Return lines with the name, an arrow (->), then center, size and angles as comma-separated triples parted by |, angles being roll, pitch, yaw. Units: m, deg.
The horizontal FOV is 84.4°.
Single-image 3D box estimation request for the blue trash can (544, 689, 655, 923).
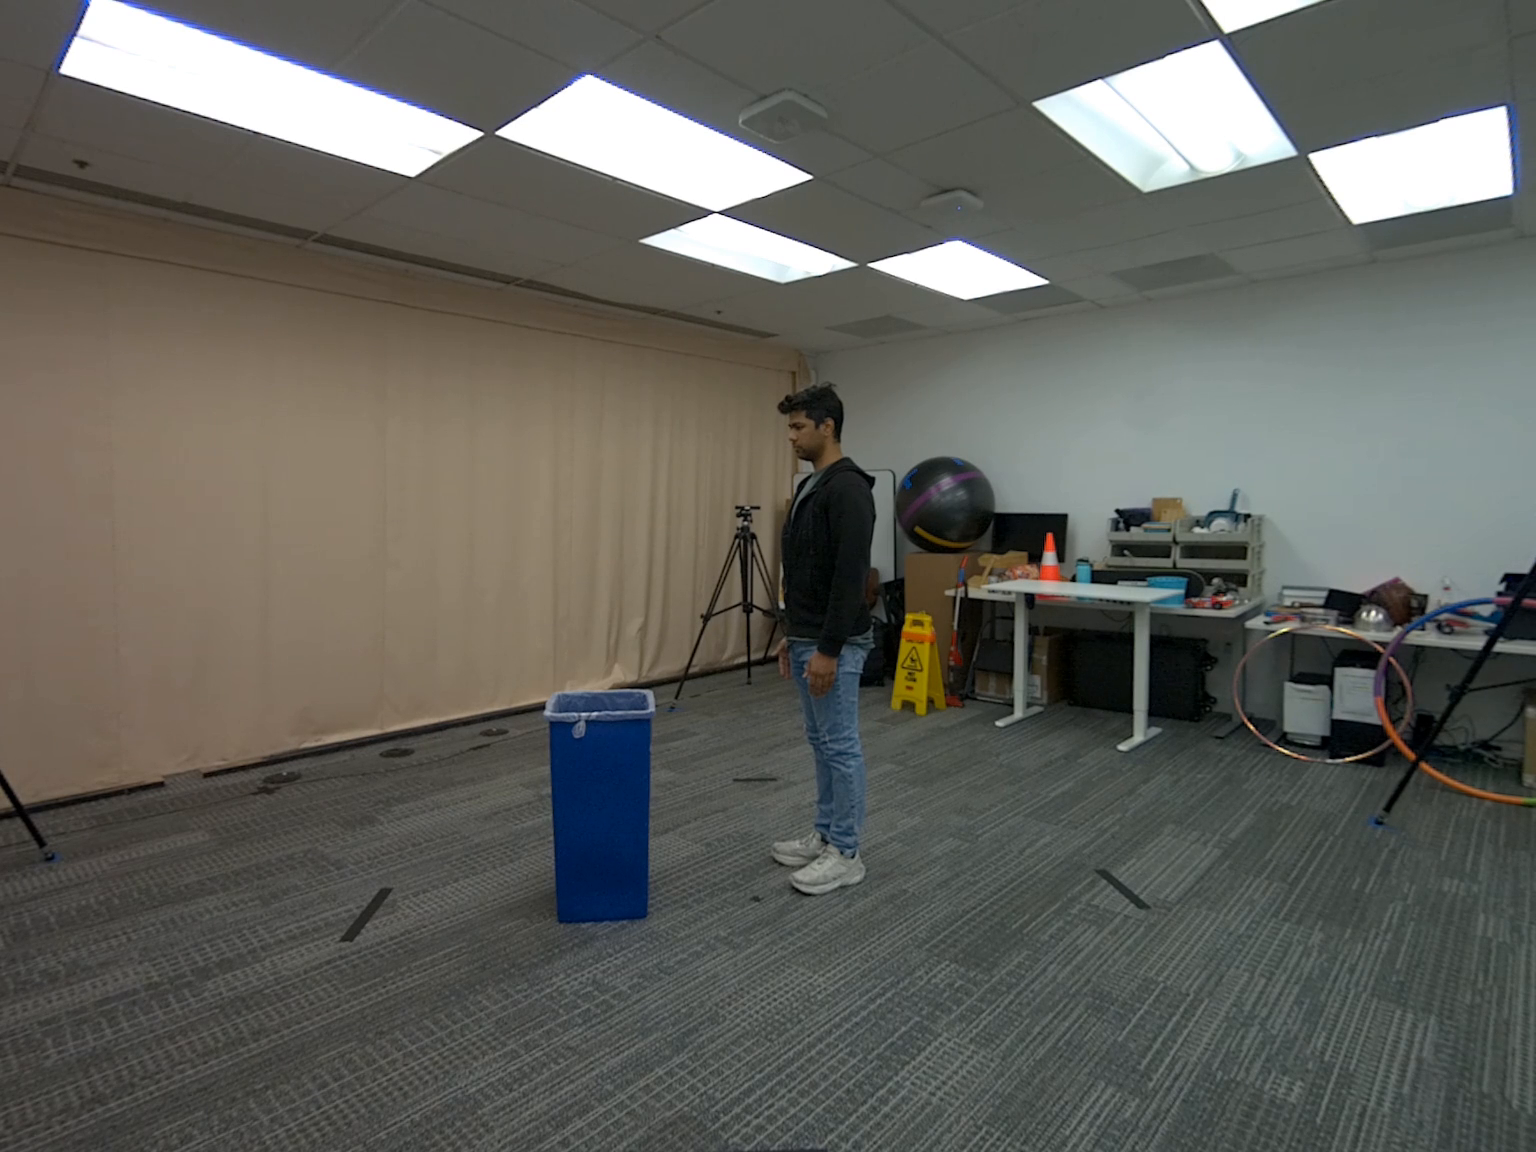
blue trash can -> -0.578, 0.794, 2.966 | 0.371, 0.712, 0.381 | -1, 3, -8
